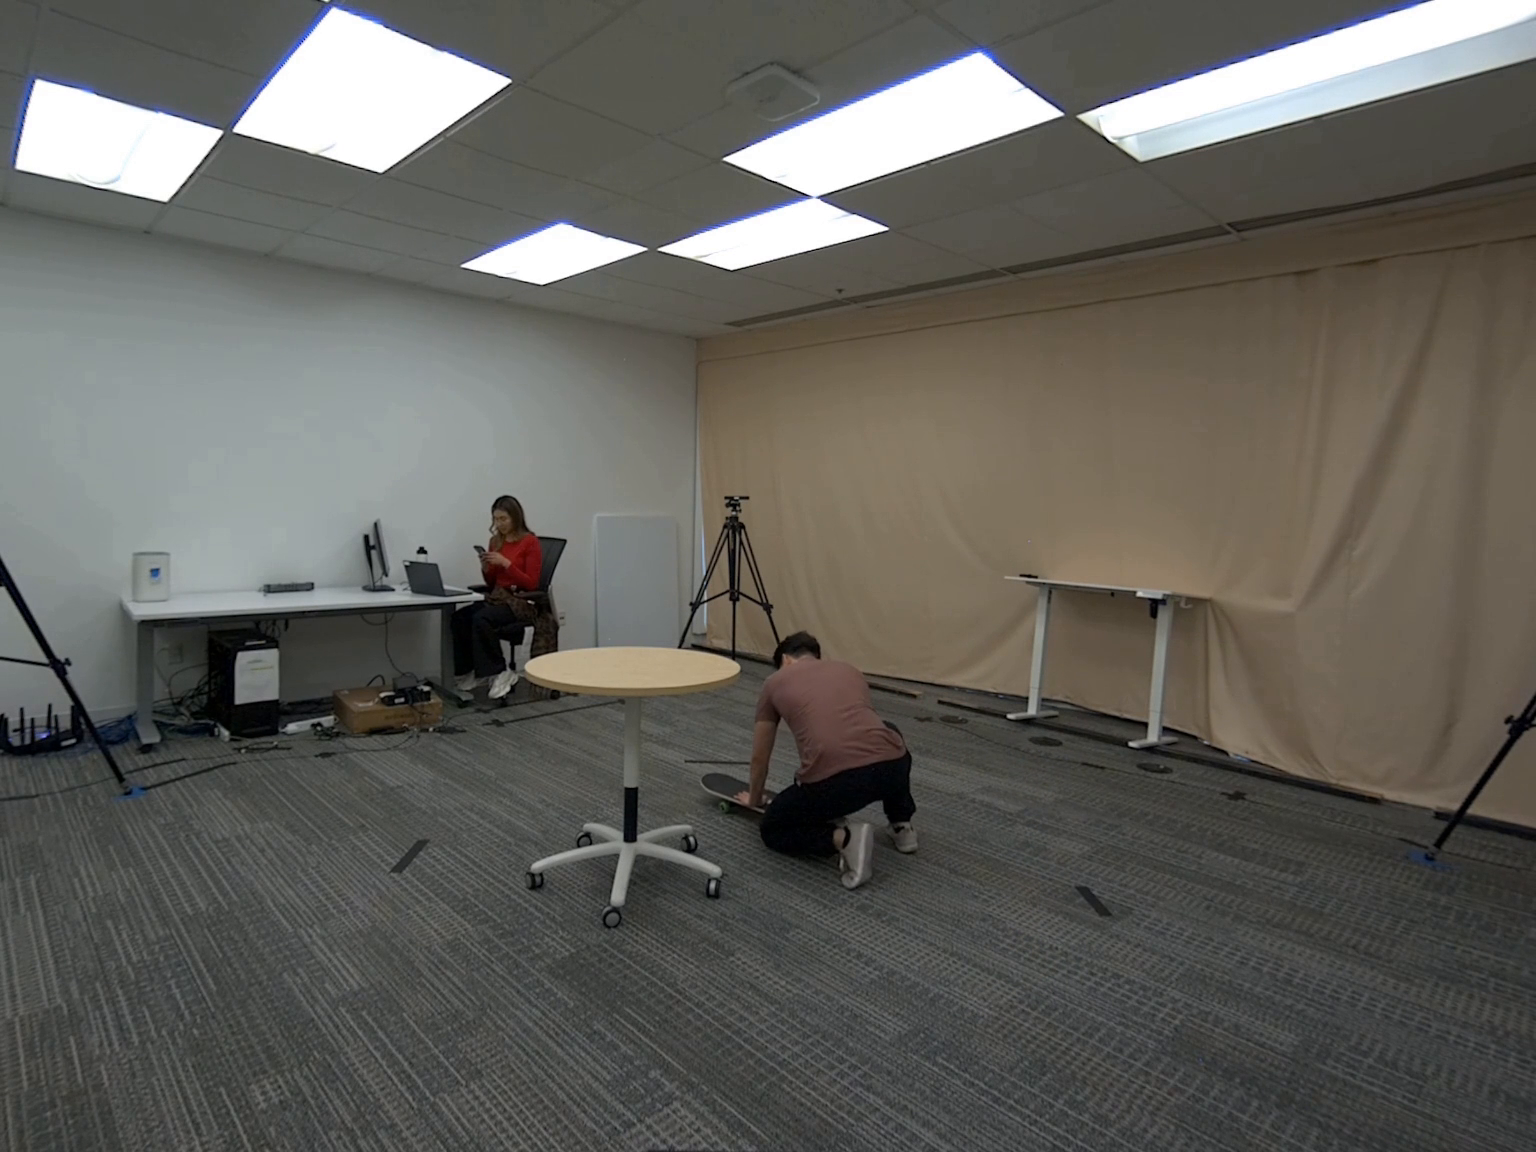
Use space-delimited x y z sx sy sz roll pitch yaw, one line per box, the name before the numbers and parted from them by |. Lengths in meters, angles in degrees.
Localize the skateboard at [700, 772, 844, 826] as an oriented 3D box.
skateboard | 0.003 1.006 3.645 0.806 0.110 0.189 7 8 41
